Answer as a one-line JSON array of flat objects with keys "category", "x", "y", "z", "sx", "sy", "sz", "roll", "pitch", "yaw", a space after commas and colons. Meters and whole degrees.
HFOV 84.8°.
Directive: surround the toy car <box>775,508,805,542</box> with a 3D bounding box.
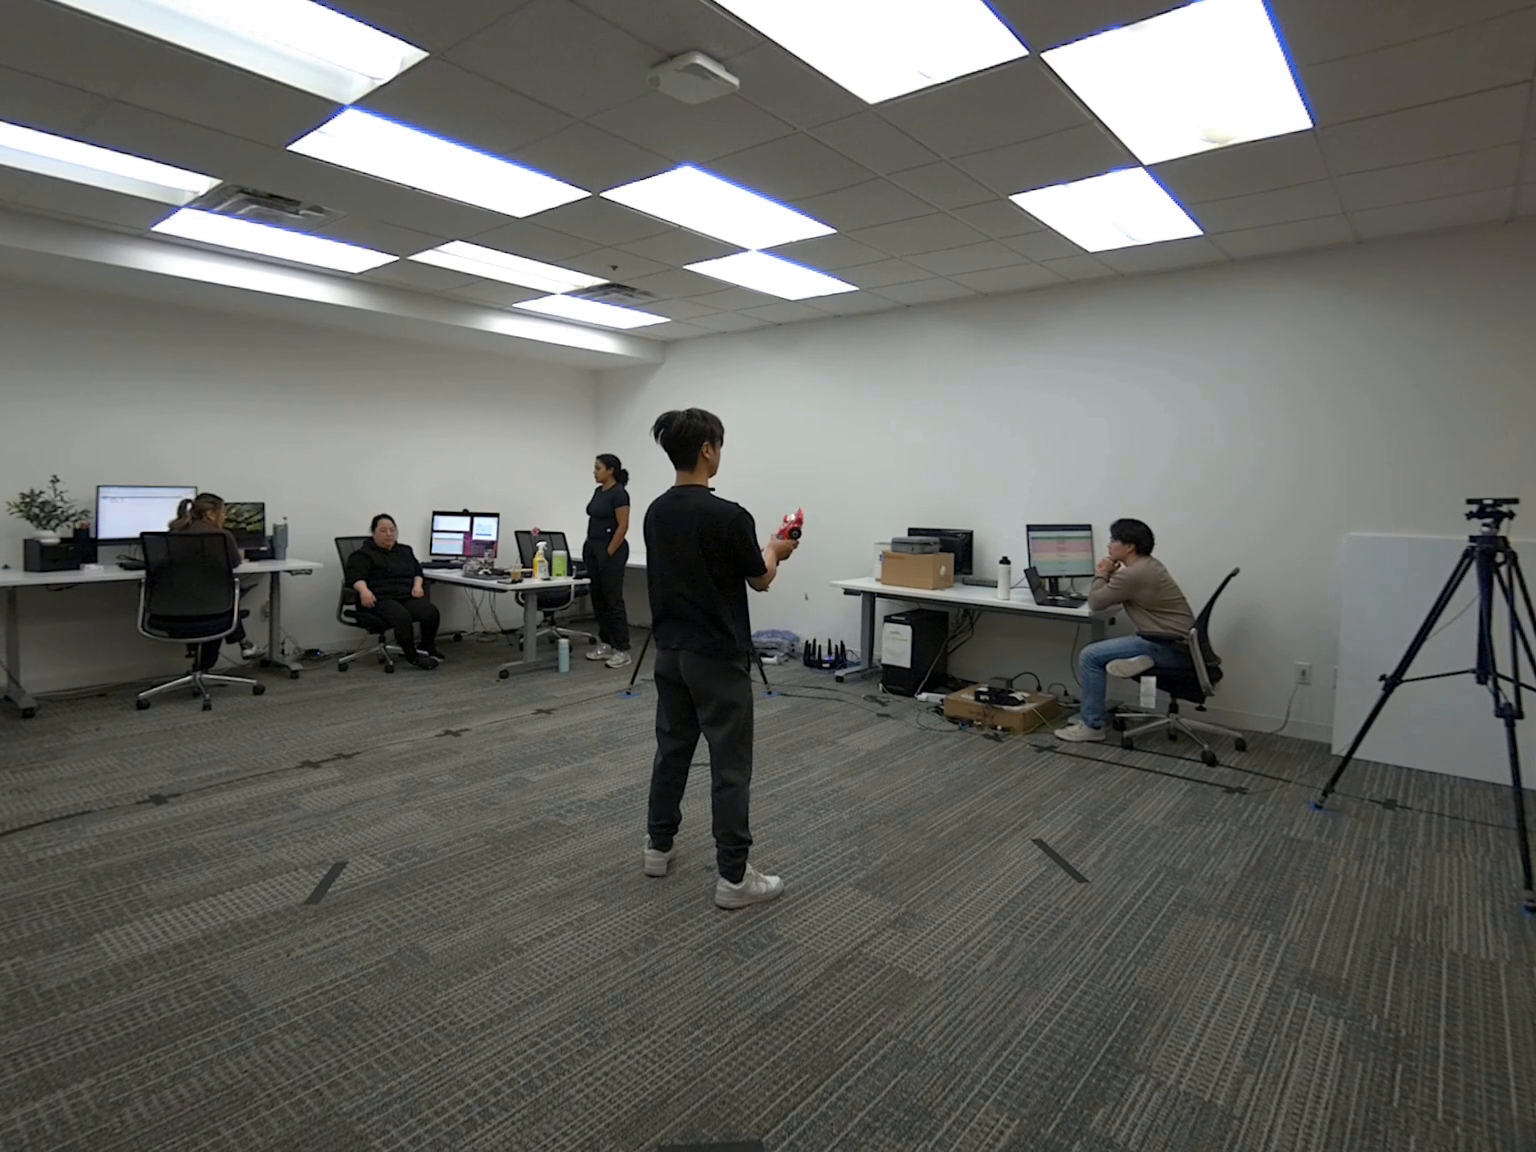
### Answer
[{"category": "toy car", "x": 0.064, "y": -0.149, "z": 3.263, "sx": 0.083, "sy": 0.252, "sz": 0.132, "roll": 20, "pitch": 23, "yaw": -3}]
